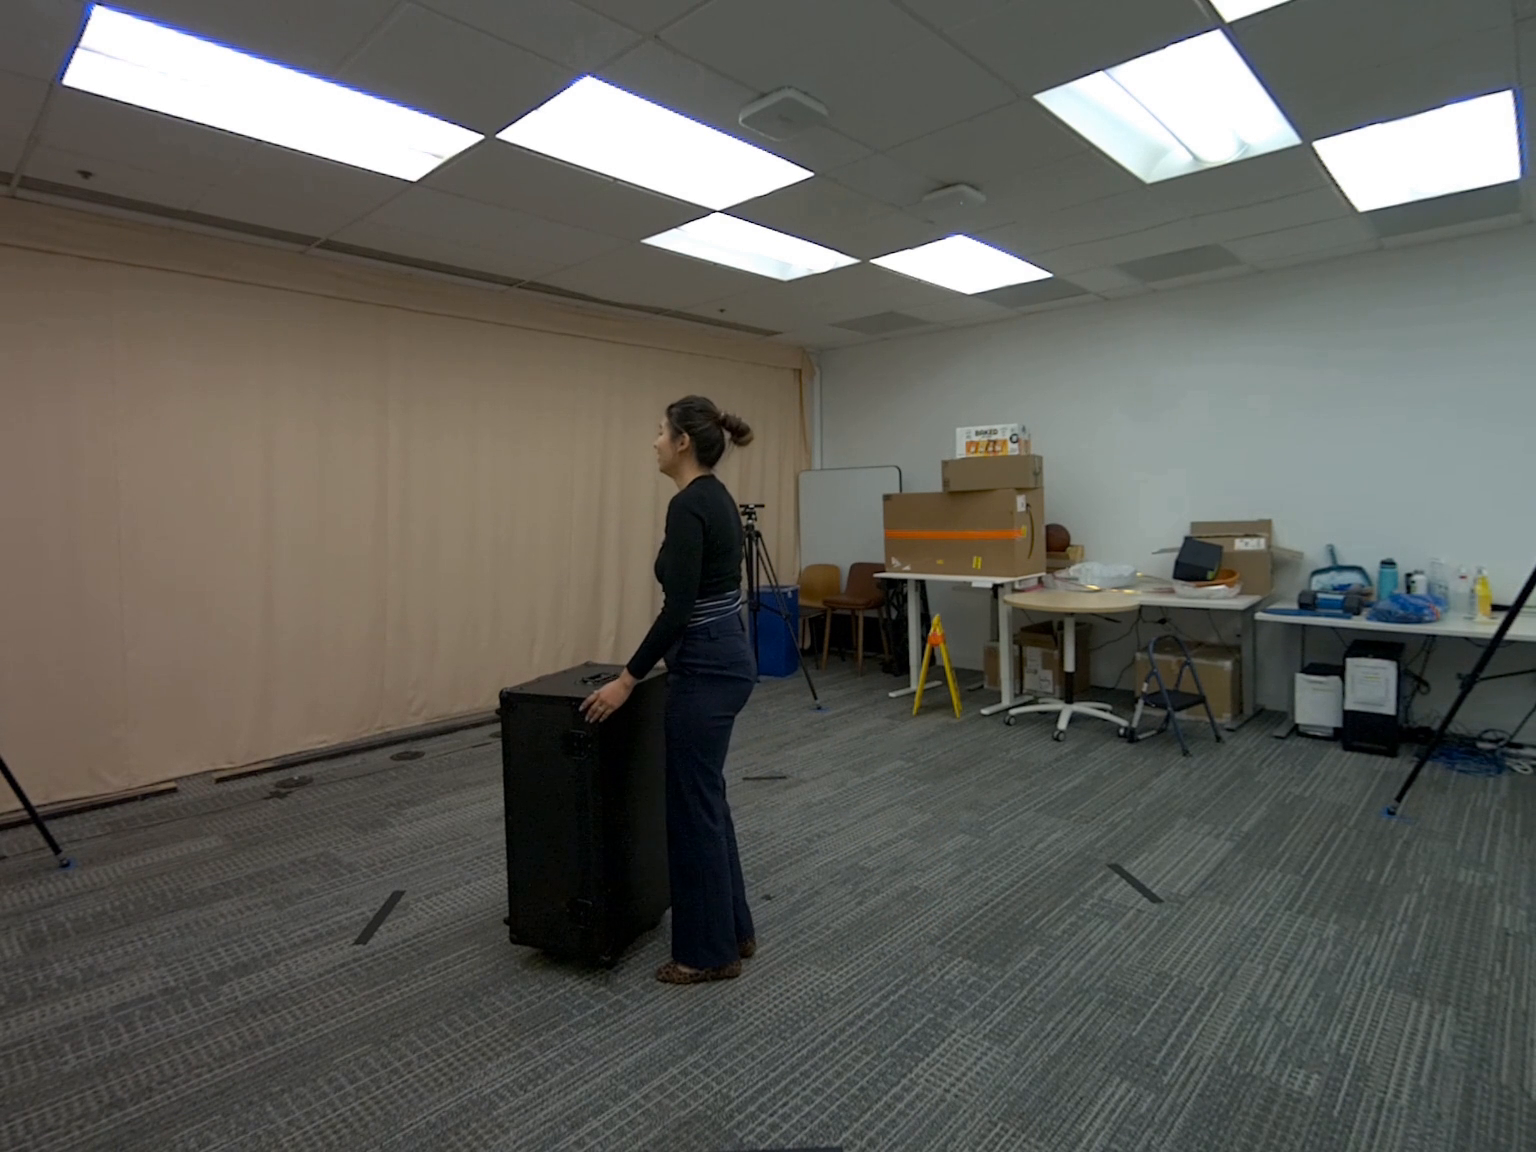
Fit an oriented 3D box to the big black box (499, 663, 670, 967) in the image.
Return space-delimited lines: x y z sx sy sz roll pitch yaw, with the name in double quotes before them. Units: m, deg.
"big black box" -0.569 0.754 2.705 0.406 0.860 0.510 -1 3 23
